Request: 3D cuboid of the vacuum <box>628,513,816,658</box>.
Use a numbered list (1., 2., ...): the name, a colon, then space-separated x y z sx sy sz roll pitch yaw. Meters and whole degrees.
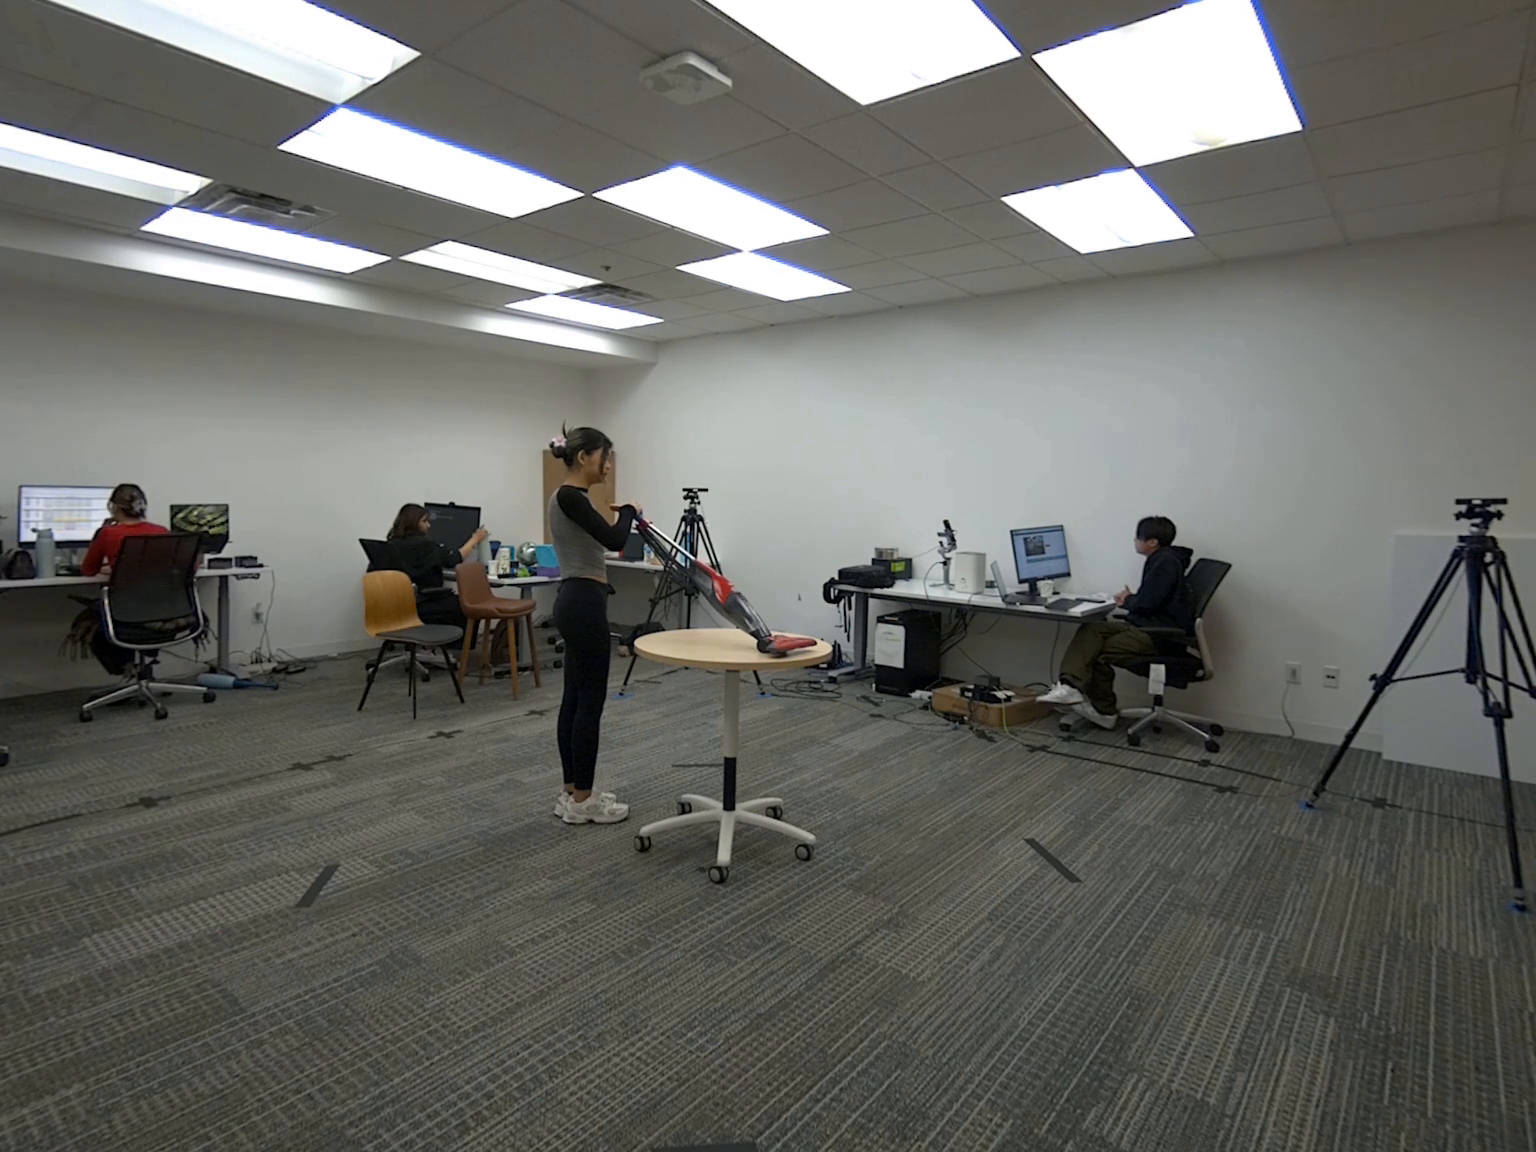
1. vacuum: -0.297 -0.010 3.413 1.090 0.143 0.245 37 20 31
